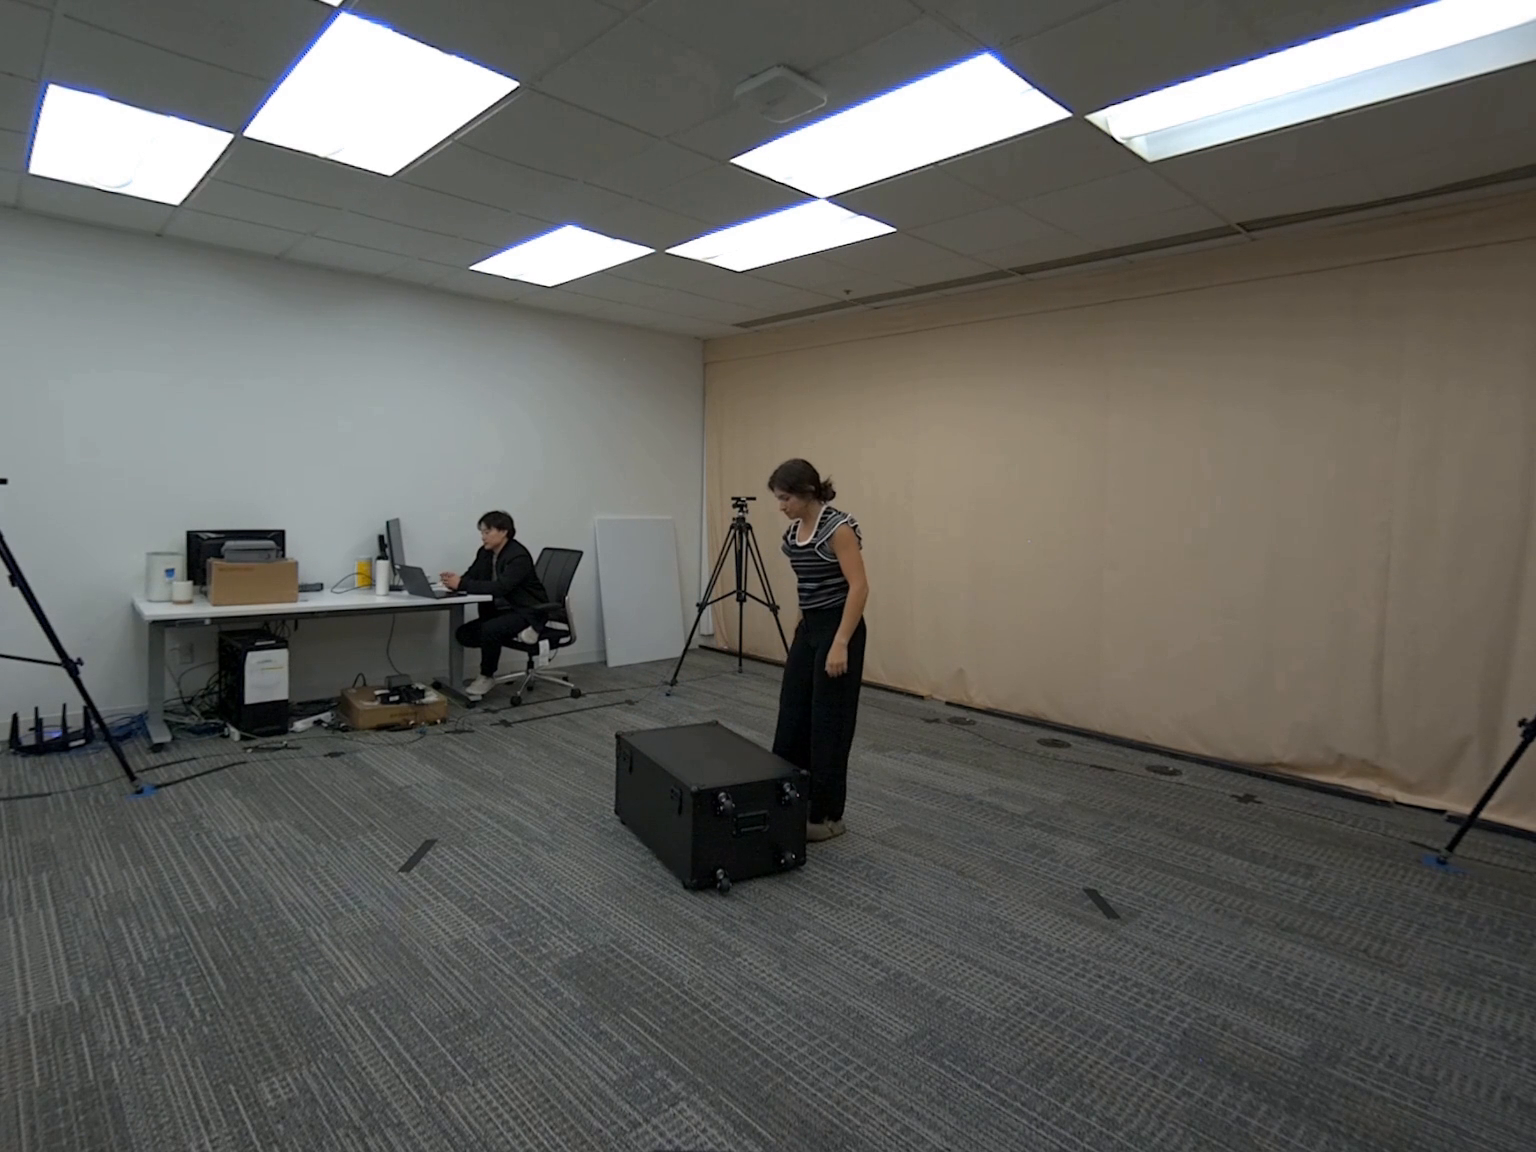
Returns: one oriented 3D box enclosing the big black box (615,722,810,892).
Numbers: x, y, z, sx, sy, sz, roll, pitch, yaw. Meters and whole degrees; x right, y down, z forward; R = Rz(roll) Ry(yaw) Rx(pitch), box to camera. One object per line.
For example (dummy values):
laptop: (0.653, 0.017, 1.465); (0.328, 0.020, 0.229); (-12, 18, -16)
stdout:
big black box: (-0.247, 0.890, 3.351); (0.511, 0.395, 0.881); (-1, 5, -29)
